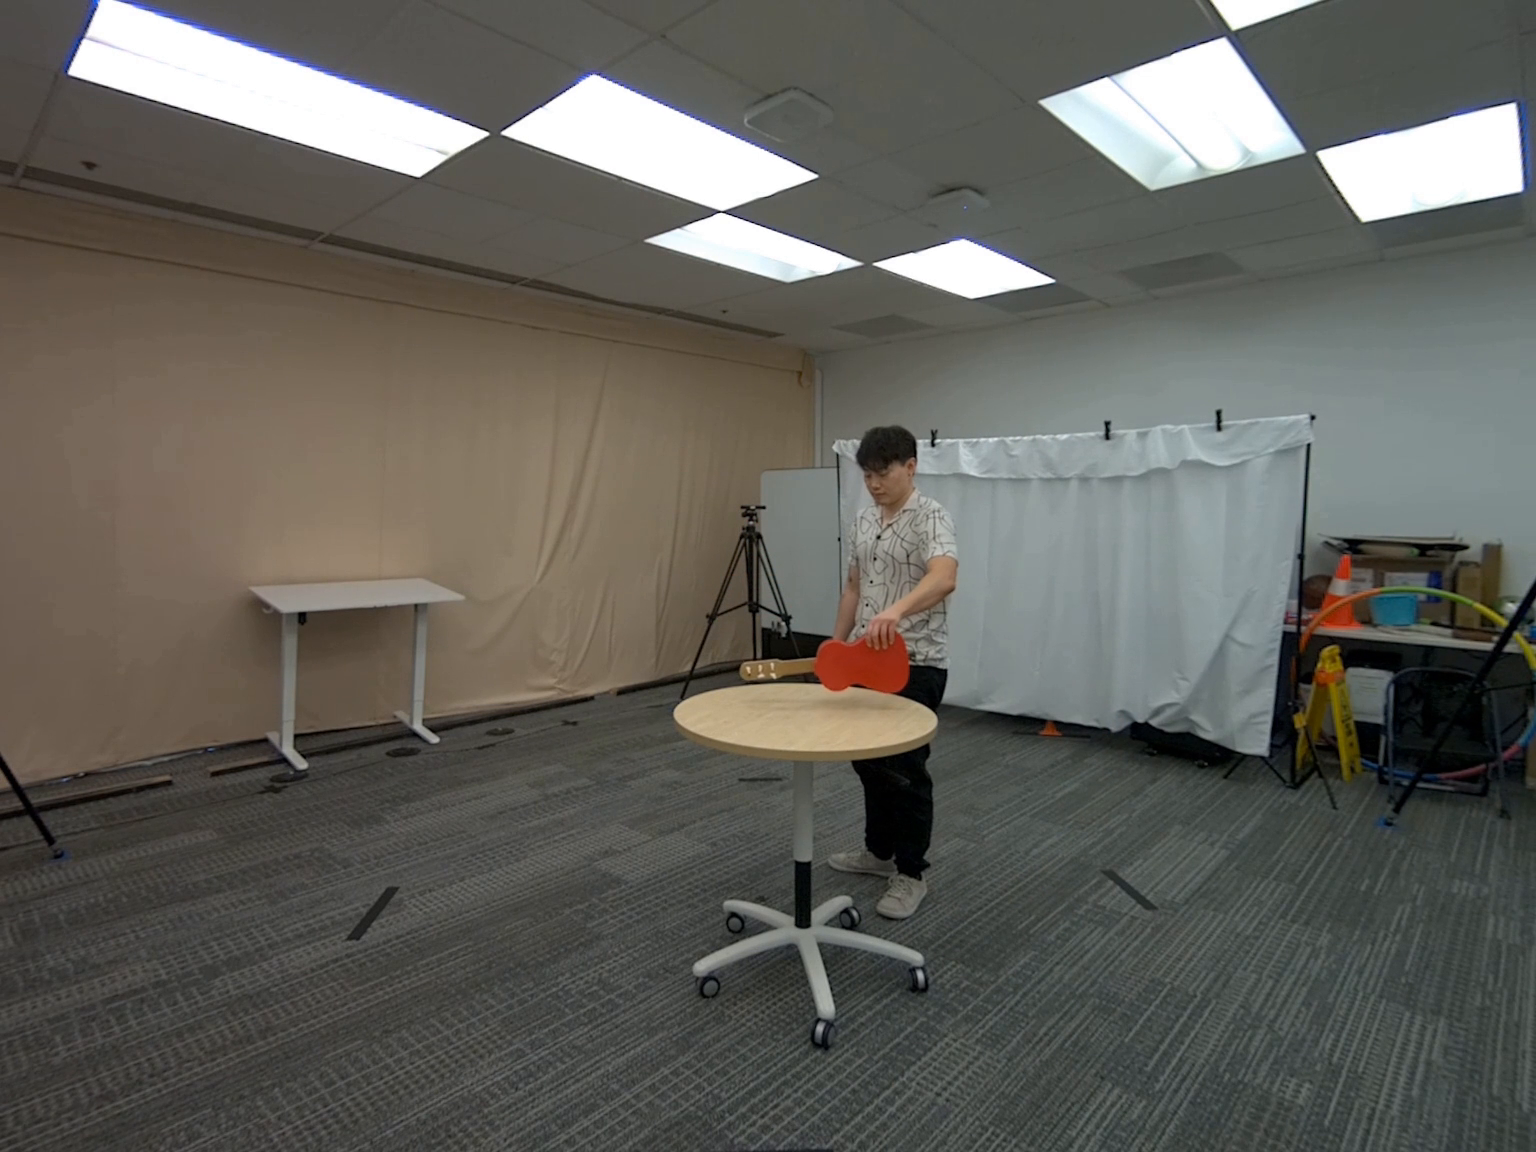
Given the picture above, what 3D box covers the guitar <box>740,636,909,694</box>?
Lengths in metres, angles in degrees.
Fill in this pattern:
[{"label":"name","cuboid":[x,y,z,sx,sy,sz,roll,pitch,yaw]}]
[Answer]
[{"label":"guitar","cuboid":[0.179,0.297,2.531,0.501,0.192,0.070,-15,4,8]}]
